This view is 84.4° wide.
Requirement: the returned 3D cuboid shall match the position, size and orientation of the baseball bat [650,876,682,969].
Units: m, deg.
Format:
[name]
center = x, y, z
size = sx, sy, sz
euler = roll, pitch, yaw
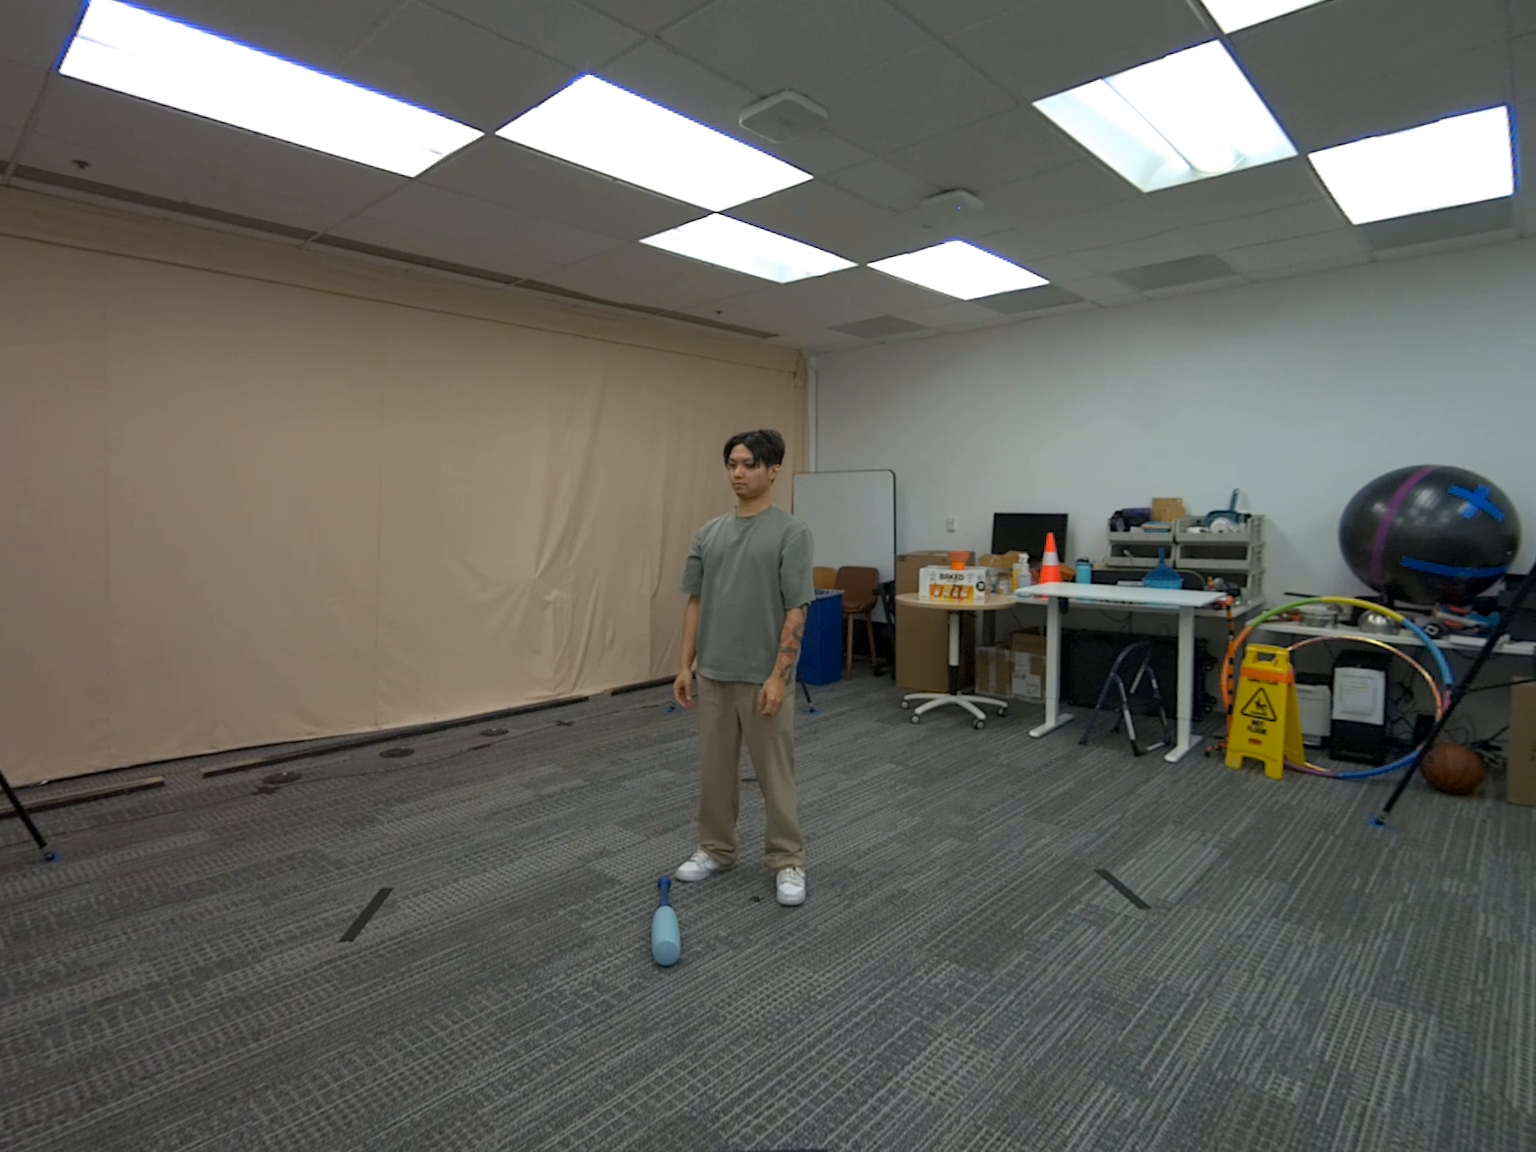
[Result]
[baseball bat]
center = -0.341, 1.125, 2.794
size = 0.088, 0.089, 0.547
euler = 0, 3, -7
